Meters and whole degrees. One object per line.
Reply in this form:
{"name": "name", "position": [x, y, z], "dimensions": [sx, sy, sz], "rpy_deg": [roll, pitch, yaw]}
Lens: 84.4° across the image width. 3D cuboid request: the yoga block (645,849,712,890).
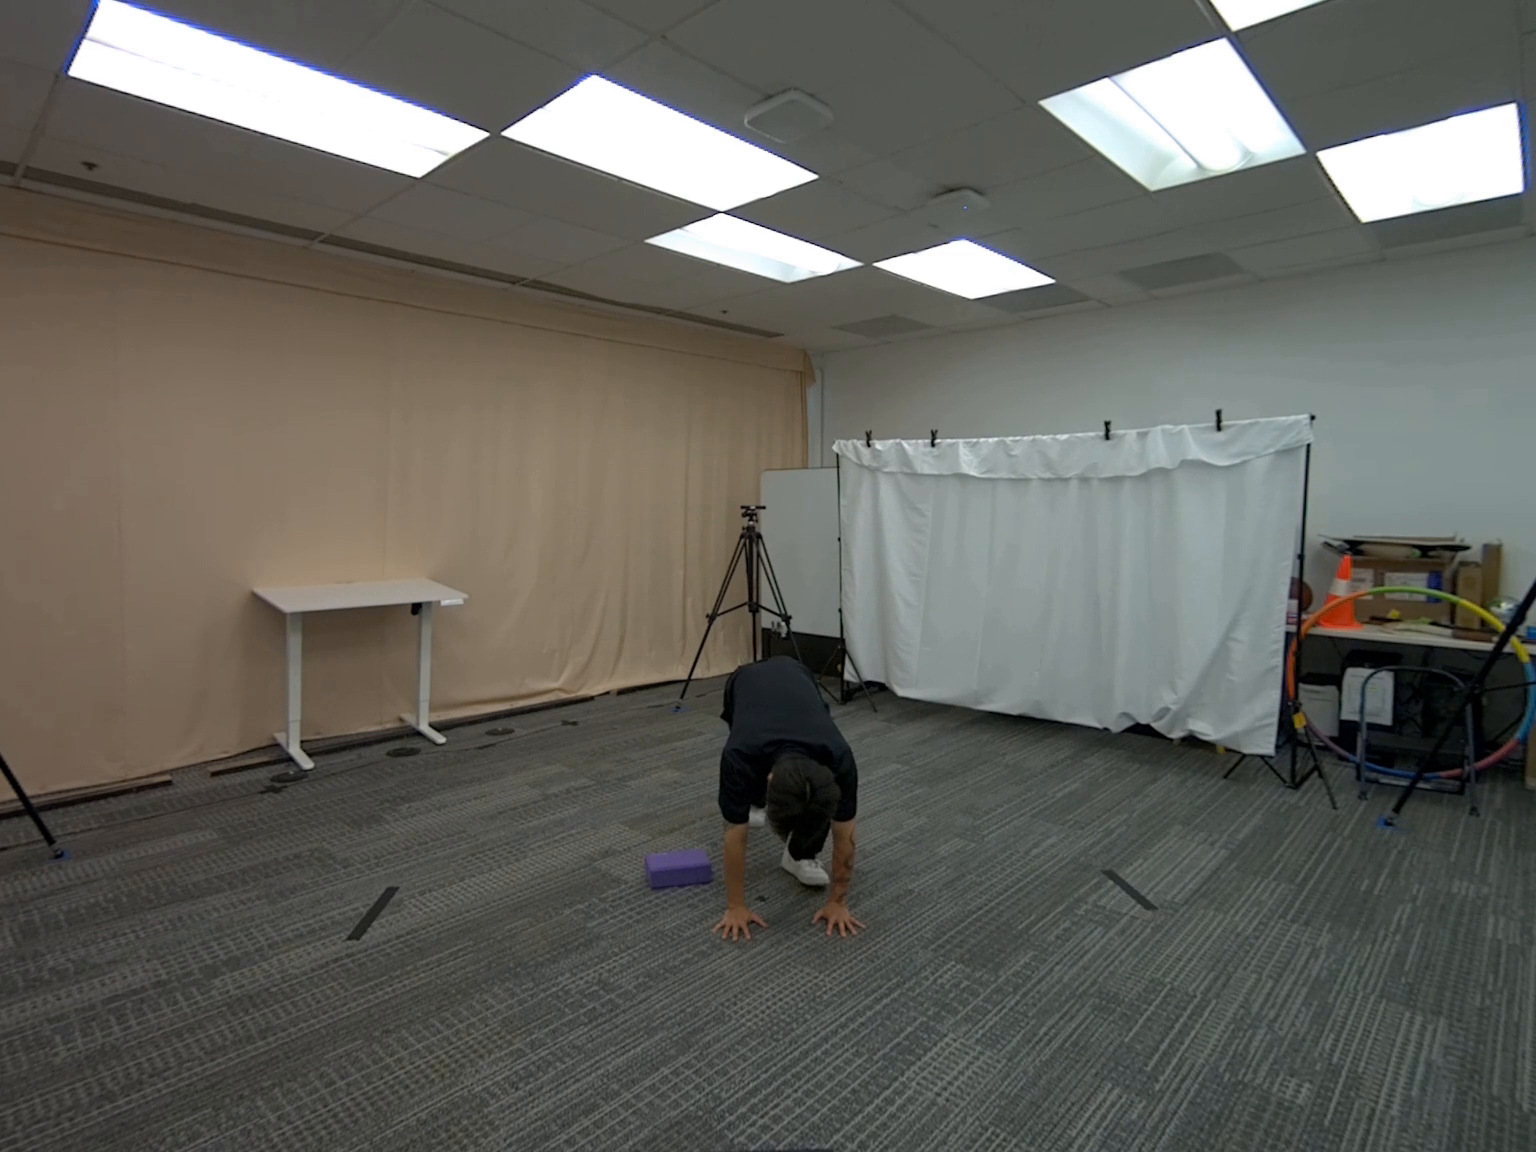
{"name": "yoga block", "position": [-0.335, 1.098, 3.154], "dimensions": [0.226, 0.076, 0.151], "rpy_deg": [-1, 5, -14]}
